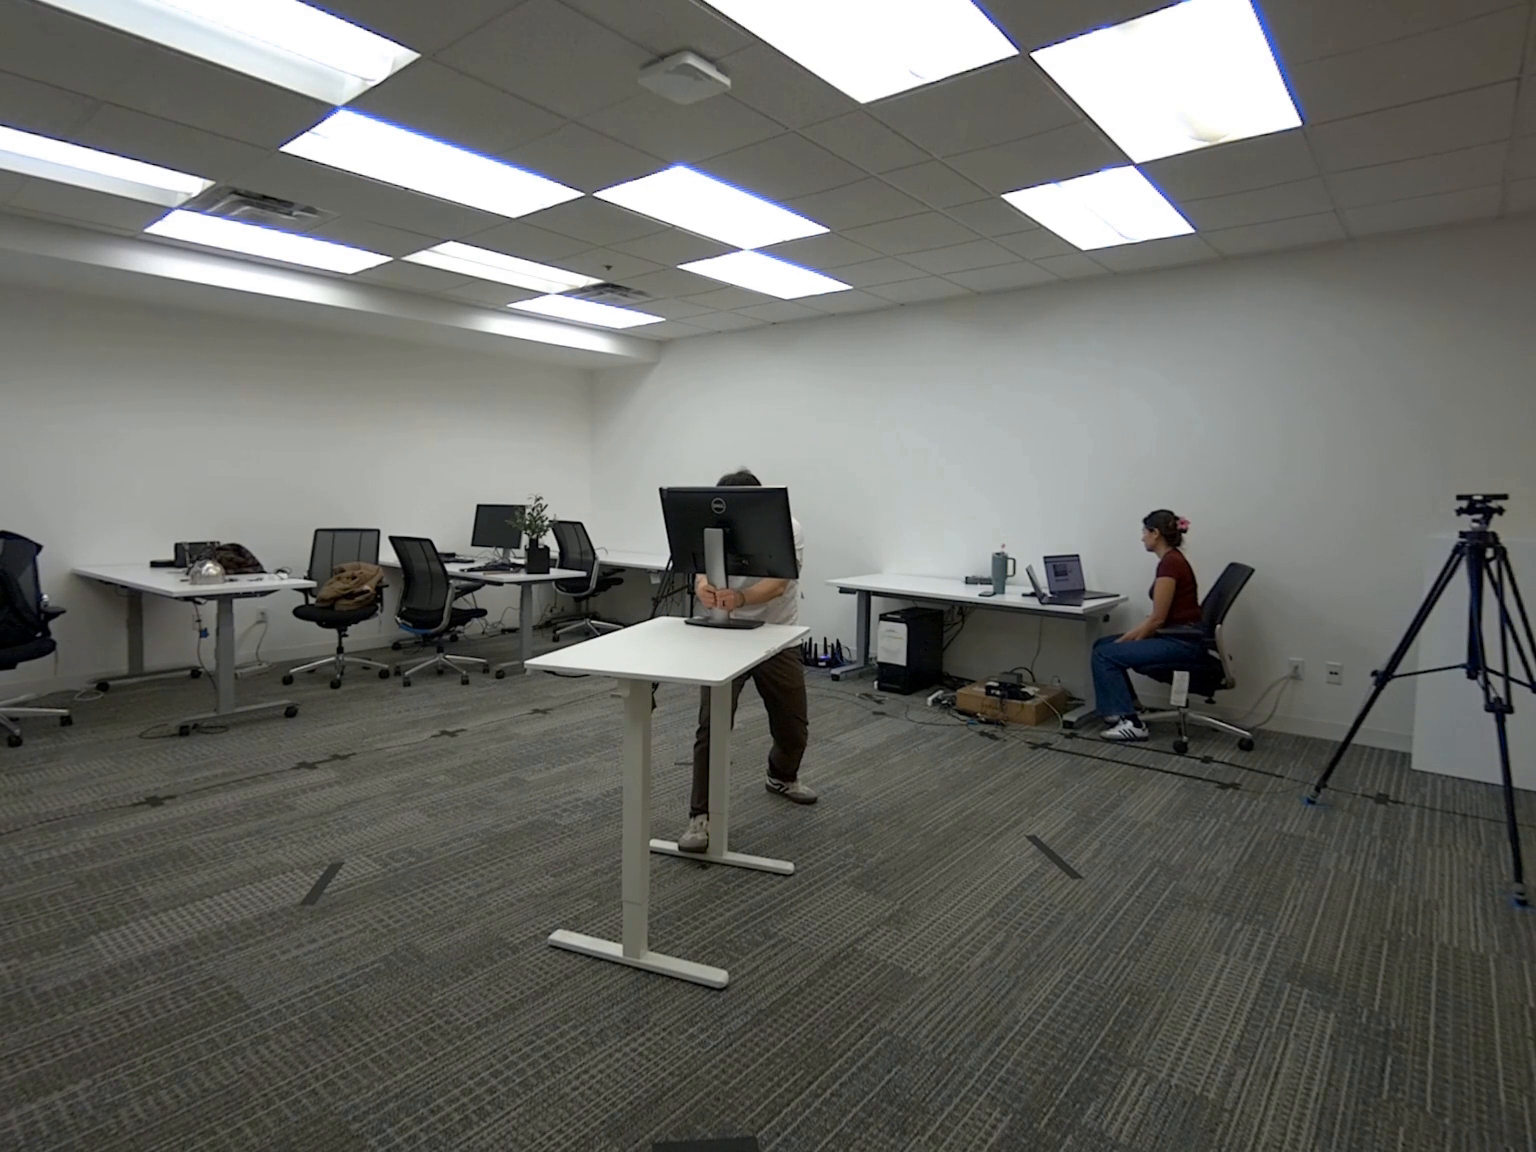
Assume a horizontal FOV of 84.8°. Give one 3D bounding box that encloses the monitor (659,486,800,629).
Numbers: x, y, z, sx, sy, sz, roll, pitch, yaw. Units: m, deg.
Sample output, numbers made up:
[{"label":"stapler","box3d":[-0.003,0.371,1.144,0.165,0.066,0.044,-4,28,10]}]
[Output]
[{"label":"monitor","box3d":[-0.180,-0.074,3.162,0.553,0.520,0.183,2,6,26]}]
